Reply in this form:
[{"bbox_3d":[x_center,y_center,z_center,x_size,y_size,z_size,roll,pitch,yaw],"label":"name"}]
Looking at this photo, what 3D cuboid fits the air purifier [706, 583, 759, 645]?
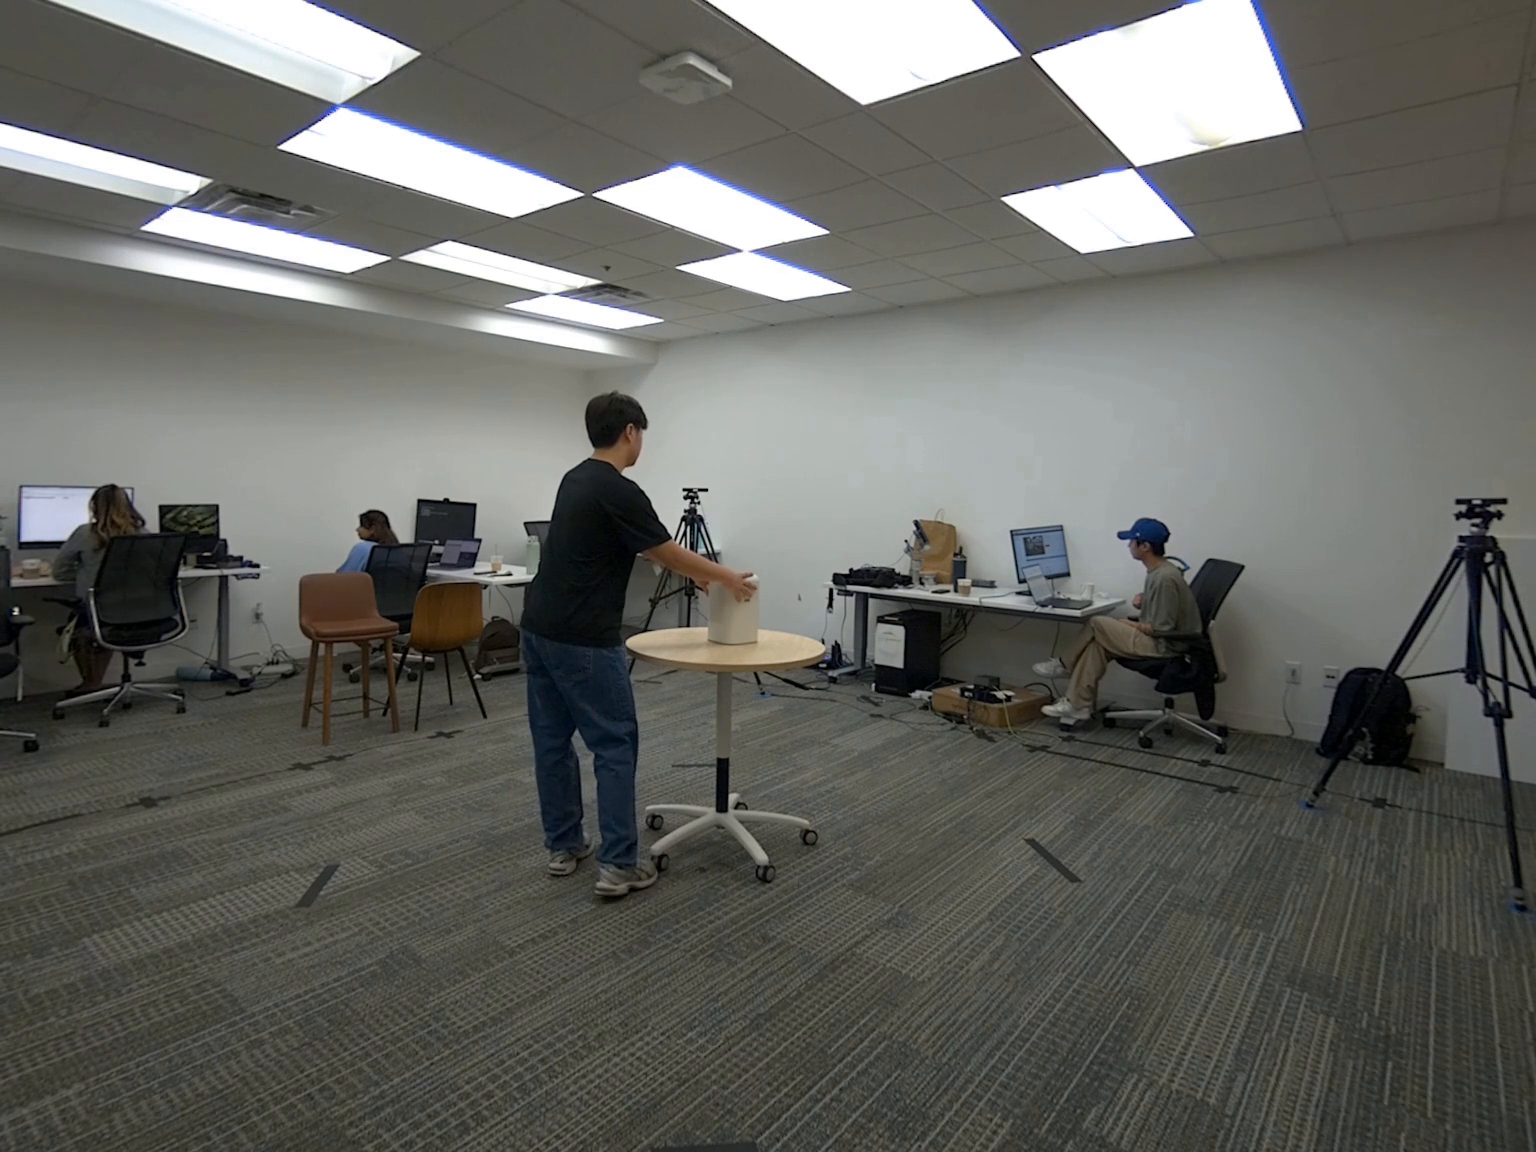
[{"bbox_3d":[-0.146,0.123,3.337,0.166,0.265,0.177,-1,4,-40],"label":"air purifier"}]
